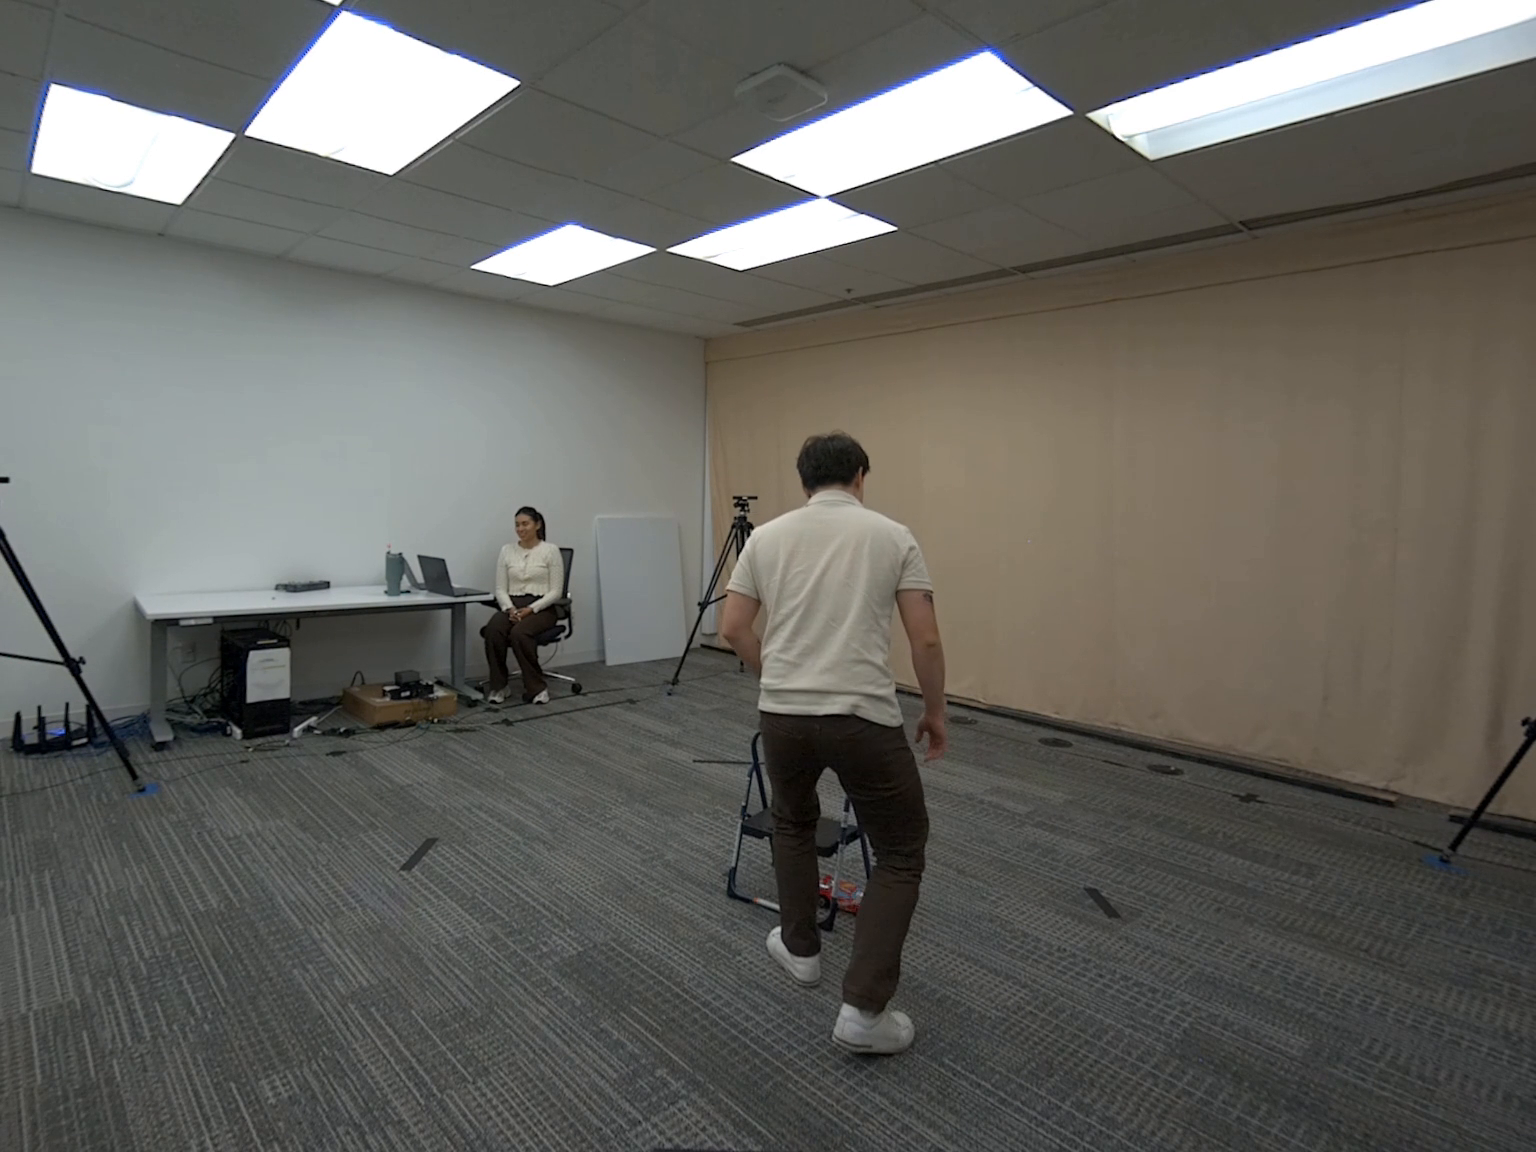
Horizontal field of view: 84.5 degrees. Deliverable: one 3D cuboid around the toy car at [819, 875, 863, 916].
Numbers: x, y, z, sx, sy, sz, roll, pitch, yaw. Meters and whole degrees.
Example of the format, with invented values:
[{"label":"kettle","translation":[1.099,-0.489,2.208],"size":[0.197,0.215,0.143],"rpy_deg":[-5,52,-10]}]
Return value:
[{"label":"toy car","translation":[0.251,1.102,2.878],"size":[0.261,0.083,0.128],"rpy_deg":[17,11,30]}]
